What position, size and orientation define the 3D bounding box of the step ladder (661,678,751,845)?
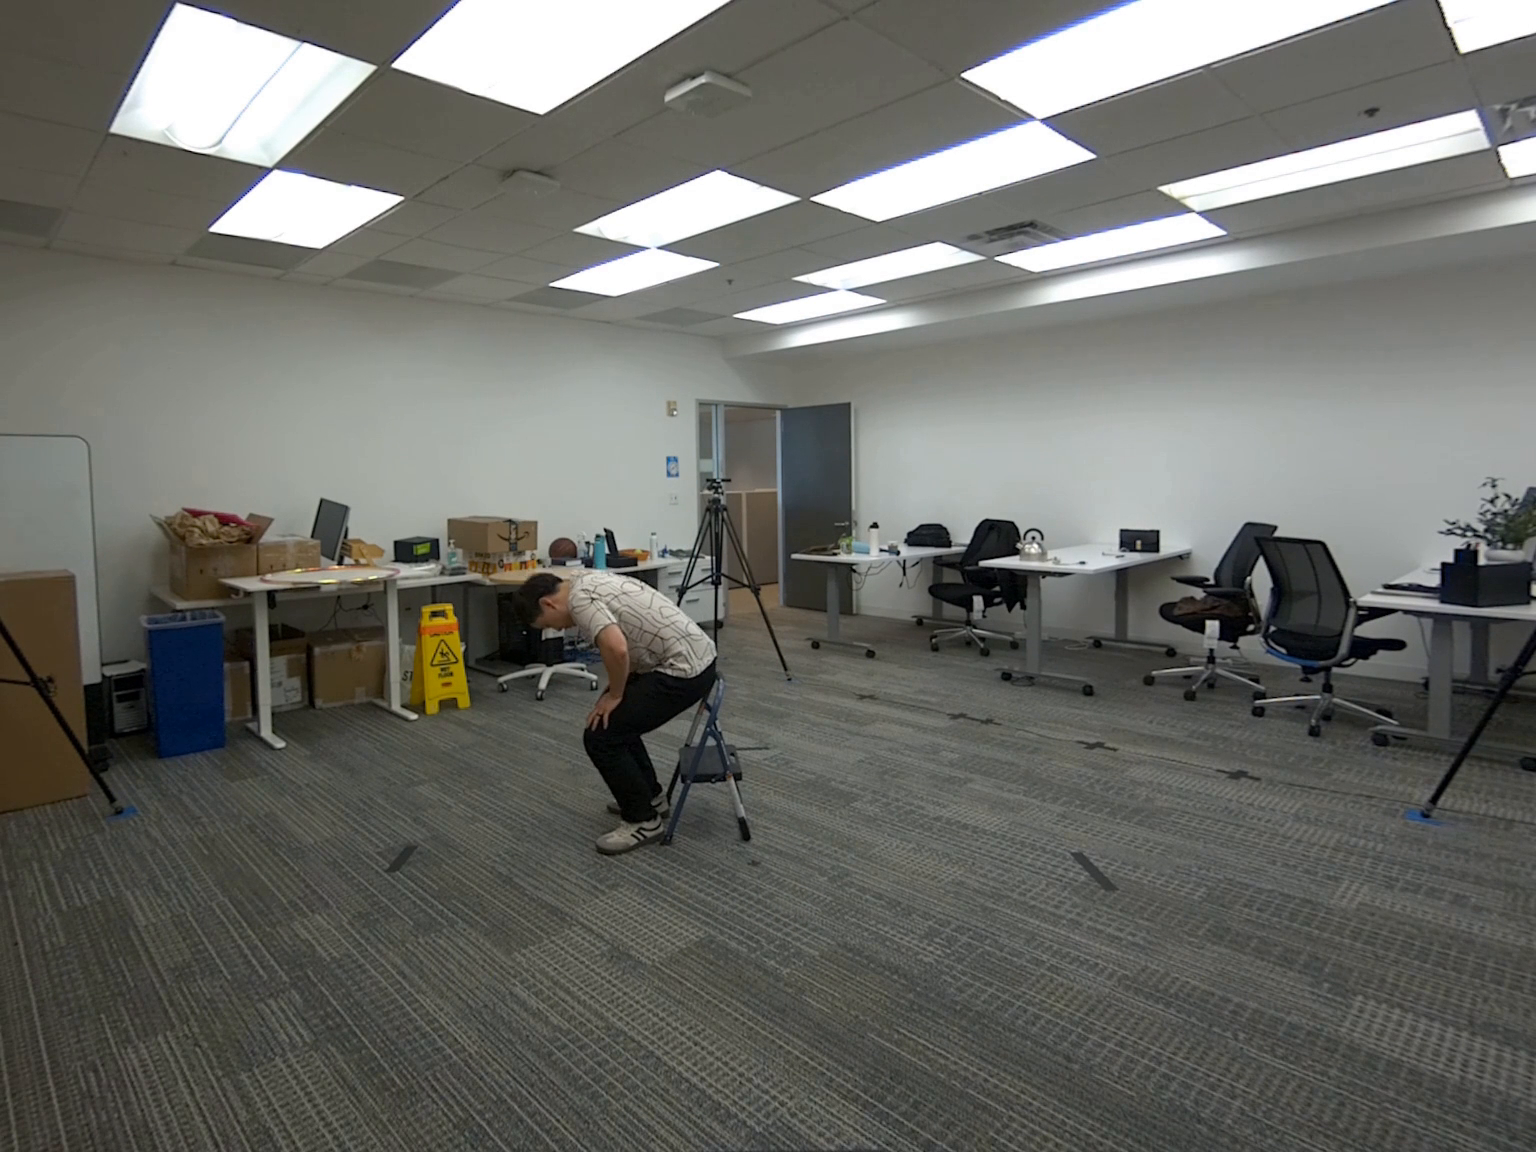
[{"bbox_3d":[-0.260,0.709,3.466,0.347,0.604,0.434,-2,4,-6],"label":"step ladder"}]
